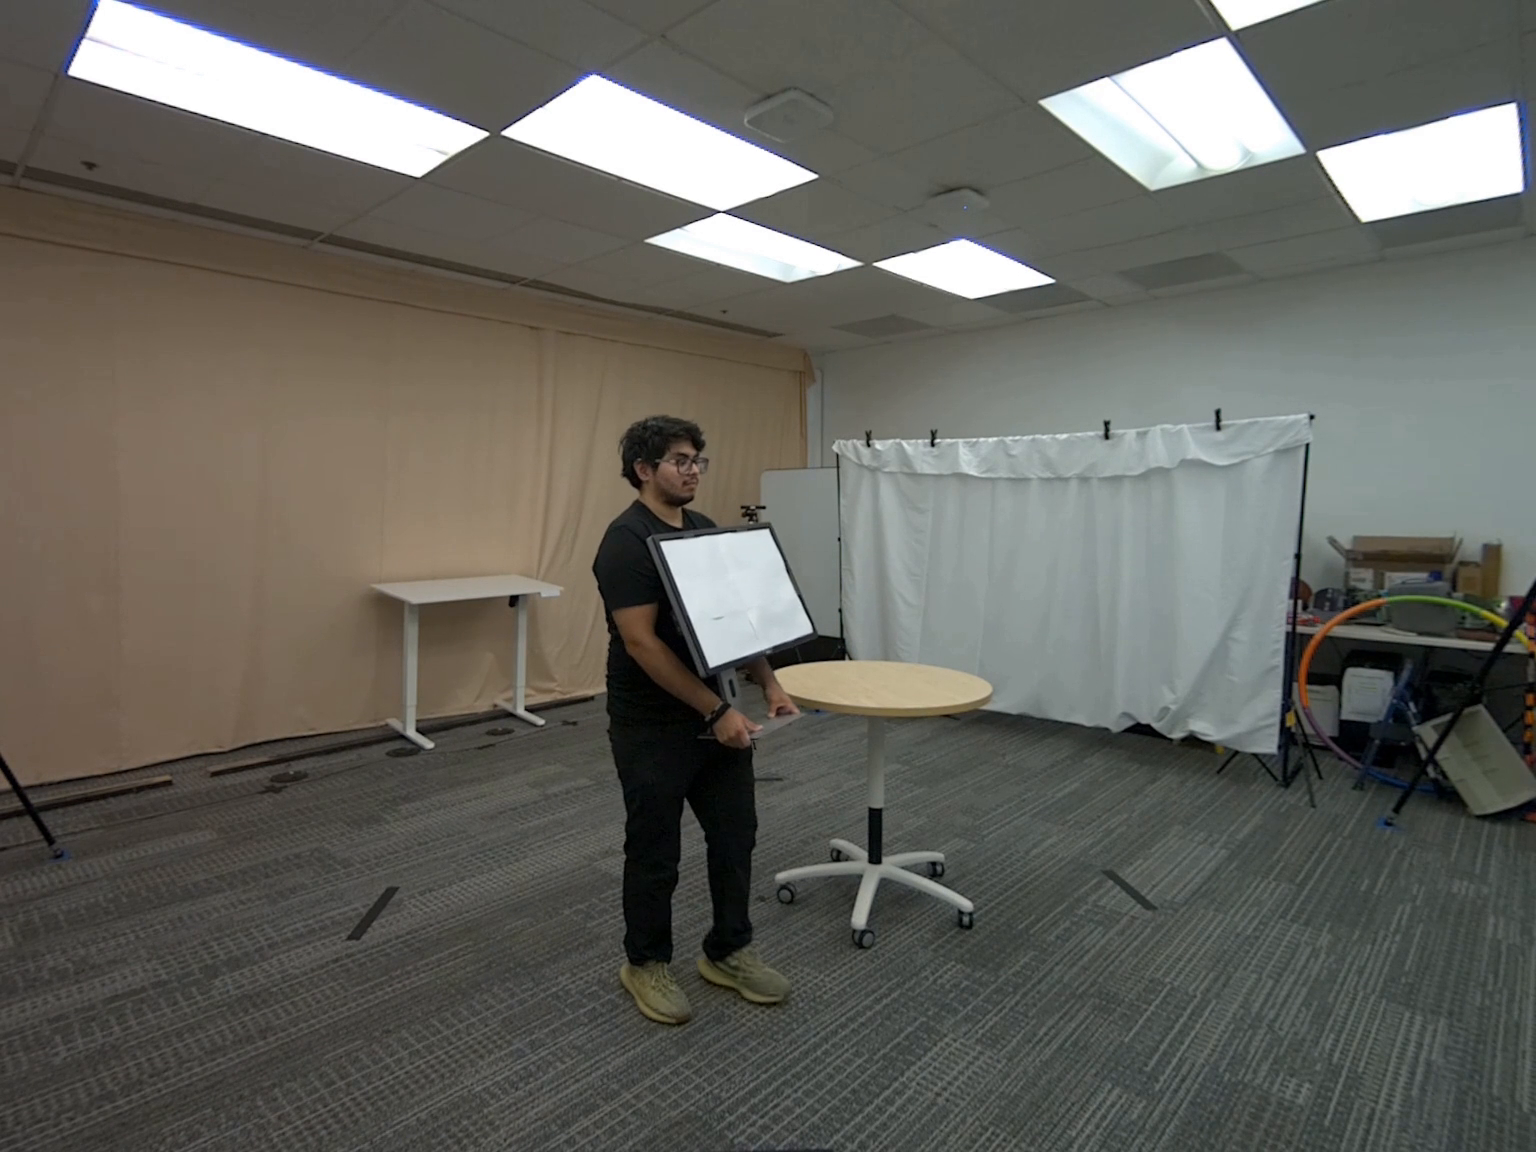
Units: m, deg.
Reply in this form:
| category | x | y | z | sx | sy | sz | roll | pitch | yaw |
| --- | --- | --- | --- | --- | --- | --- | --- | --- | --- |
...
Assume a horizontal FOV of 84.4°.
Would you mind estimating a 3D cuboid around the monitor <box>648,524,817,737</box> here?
| category | x | y | z | sx | sy | sz | roll | pitch | yaw |
| --- | --- | --- | --- | --- | --- | --- | --- | --- | --- |
| monitor | -0.095 | 0.147 | 2.262 | 0.215 | 0.557 | 0.550 | -21 | -6 | 33 |
